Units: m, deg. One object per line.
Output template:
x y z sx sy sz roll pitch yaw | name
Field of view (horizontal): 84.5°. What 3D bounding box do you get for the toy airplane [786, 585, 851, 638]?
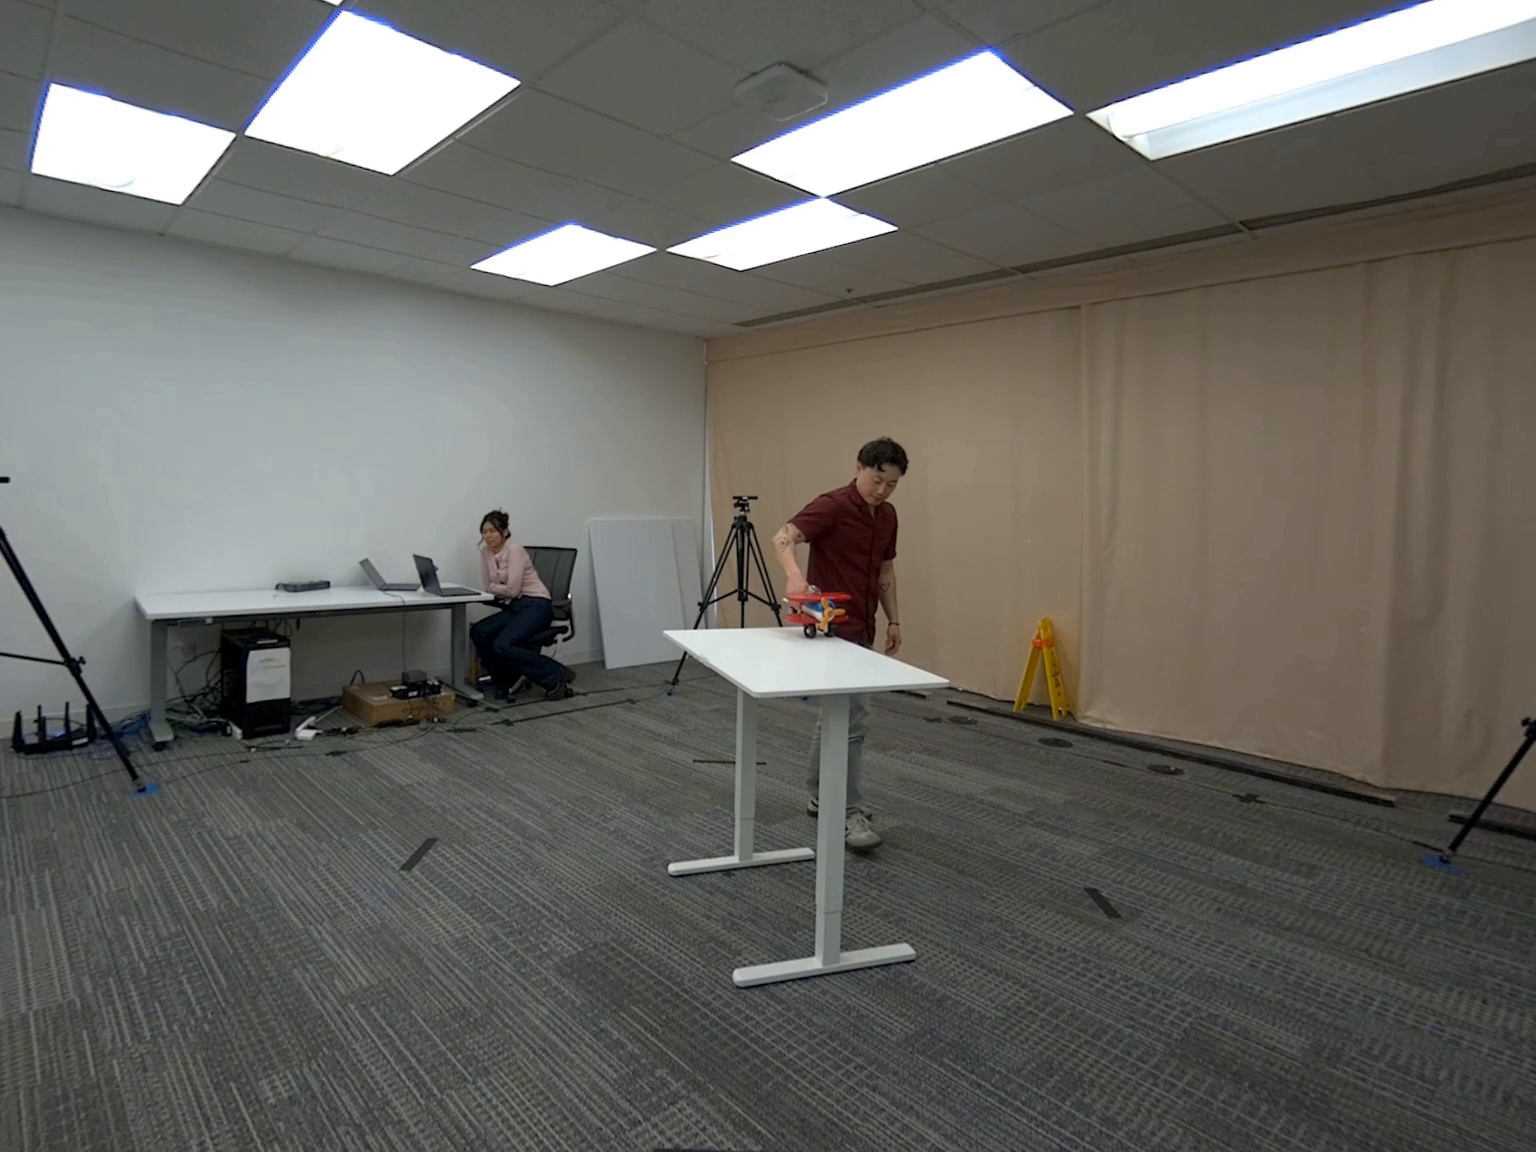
0.151 0.123 3.145 0.266 0.154 0.247 25 27 32 | toy airplane
